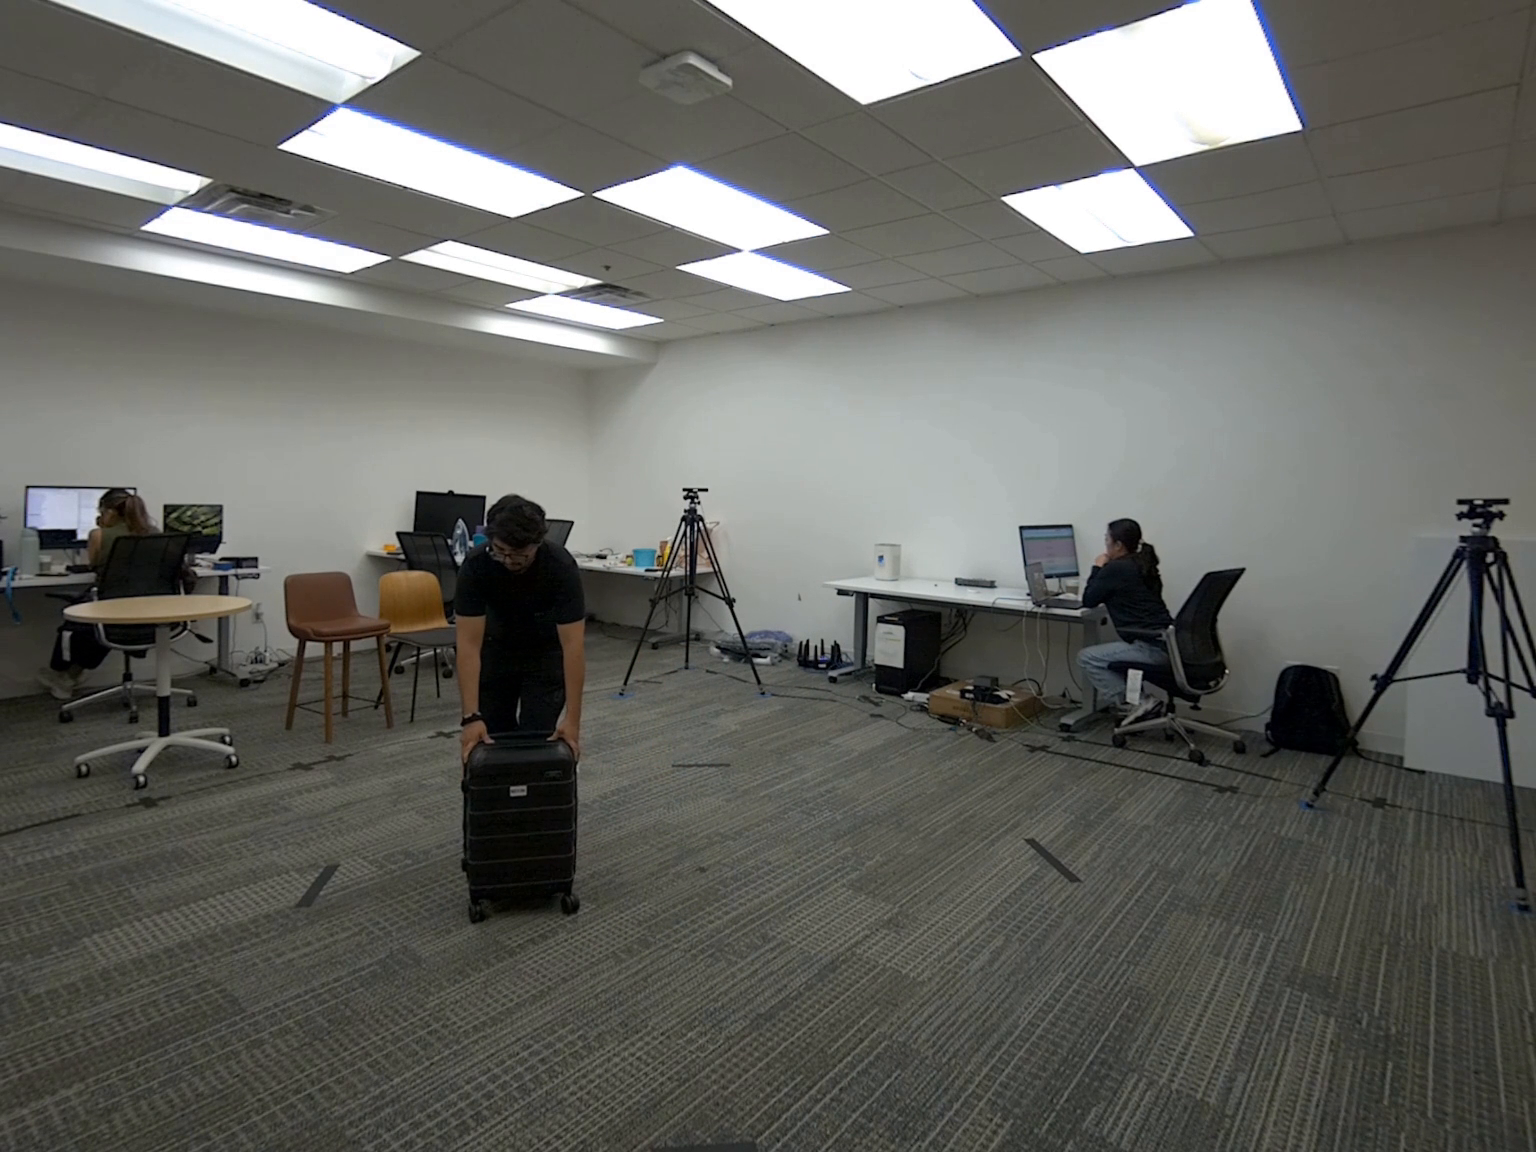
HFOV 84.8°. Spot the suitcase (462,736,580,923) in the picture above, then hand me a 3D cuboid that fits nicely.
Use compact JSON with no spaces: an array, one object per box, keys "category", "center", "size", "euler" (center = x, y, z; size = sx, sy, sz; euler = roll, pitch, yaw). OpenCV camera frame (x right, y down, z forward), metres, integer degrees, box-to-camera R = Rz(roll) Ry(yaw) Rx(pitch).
[{"category":"suitcase","center":[-0.839,0.810,2.854],"size":[0.369,0.548,0.253],"euler":[0,3,-17]}]
